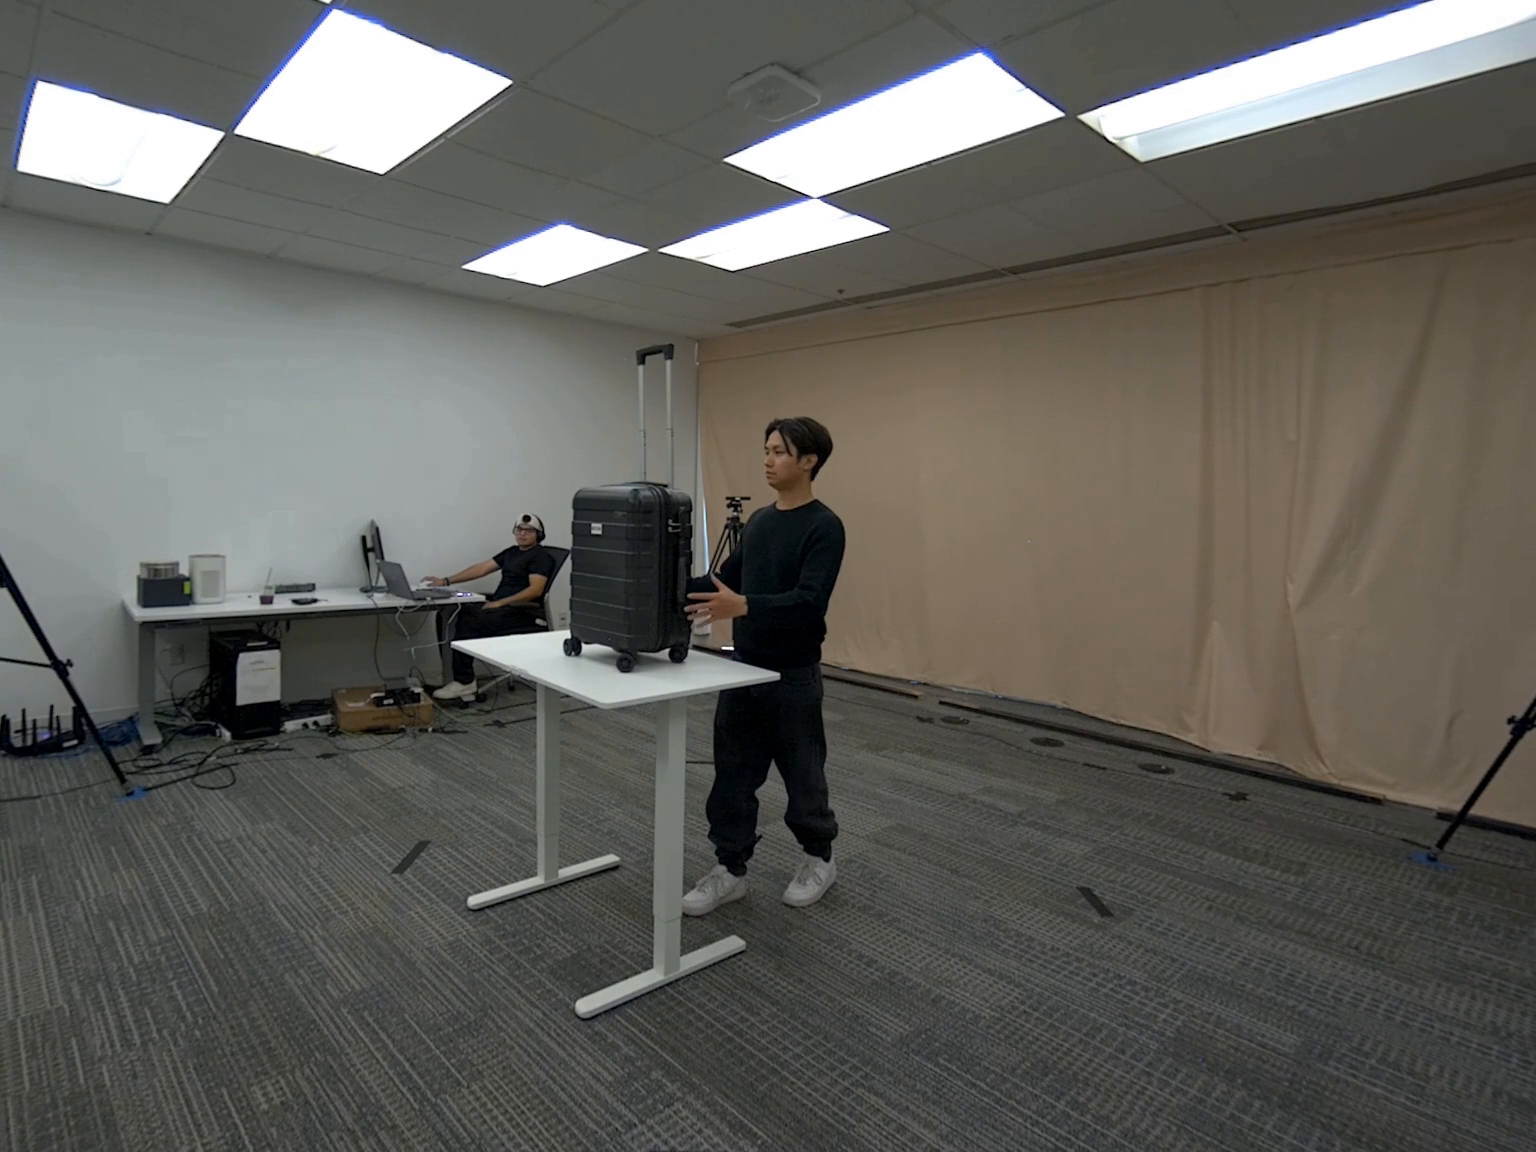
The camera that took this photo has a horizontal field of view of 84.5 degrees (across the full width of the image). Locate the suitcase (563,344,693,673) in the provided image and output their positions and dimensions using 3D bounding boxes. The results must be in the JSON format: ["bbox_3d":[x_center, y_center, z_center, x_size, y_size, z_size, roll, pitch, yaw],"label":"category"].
[{"bbox_3d":[-0.431,-0.218,2.584,0.394,0.975,0.251,5,6,45],"label":"suitcase"}]
